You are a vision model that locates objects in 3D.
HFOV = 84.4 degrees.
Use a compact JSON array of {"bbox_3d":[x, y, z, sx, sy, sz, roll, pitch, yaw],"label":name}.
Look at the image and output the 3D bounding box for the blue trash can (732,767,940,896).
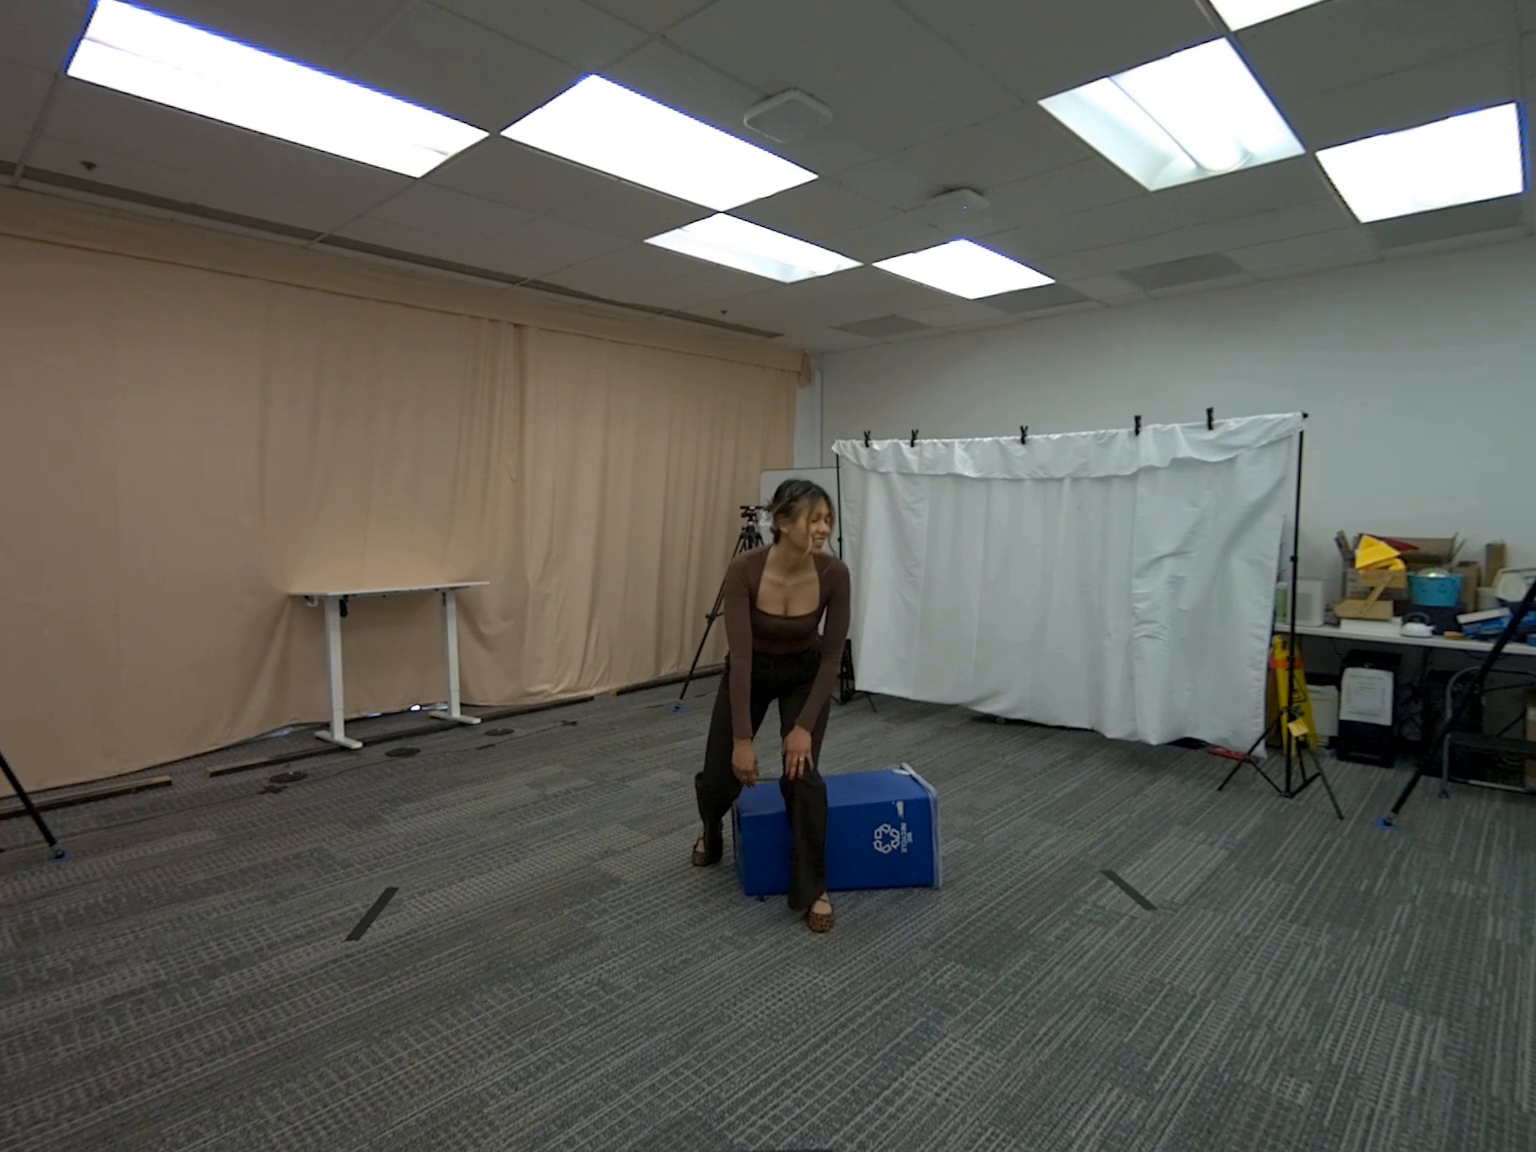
[{"bbox_3d":[0.247,0.961,3.166,0.708,0.377,0.378,-4,5,-7],"label":"blue trash can"}]
